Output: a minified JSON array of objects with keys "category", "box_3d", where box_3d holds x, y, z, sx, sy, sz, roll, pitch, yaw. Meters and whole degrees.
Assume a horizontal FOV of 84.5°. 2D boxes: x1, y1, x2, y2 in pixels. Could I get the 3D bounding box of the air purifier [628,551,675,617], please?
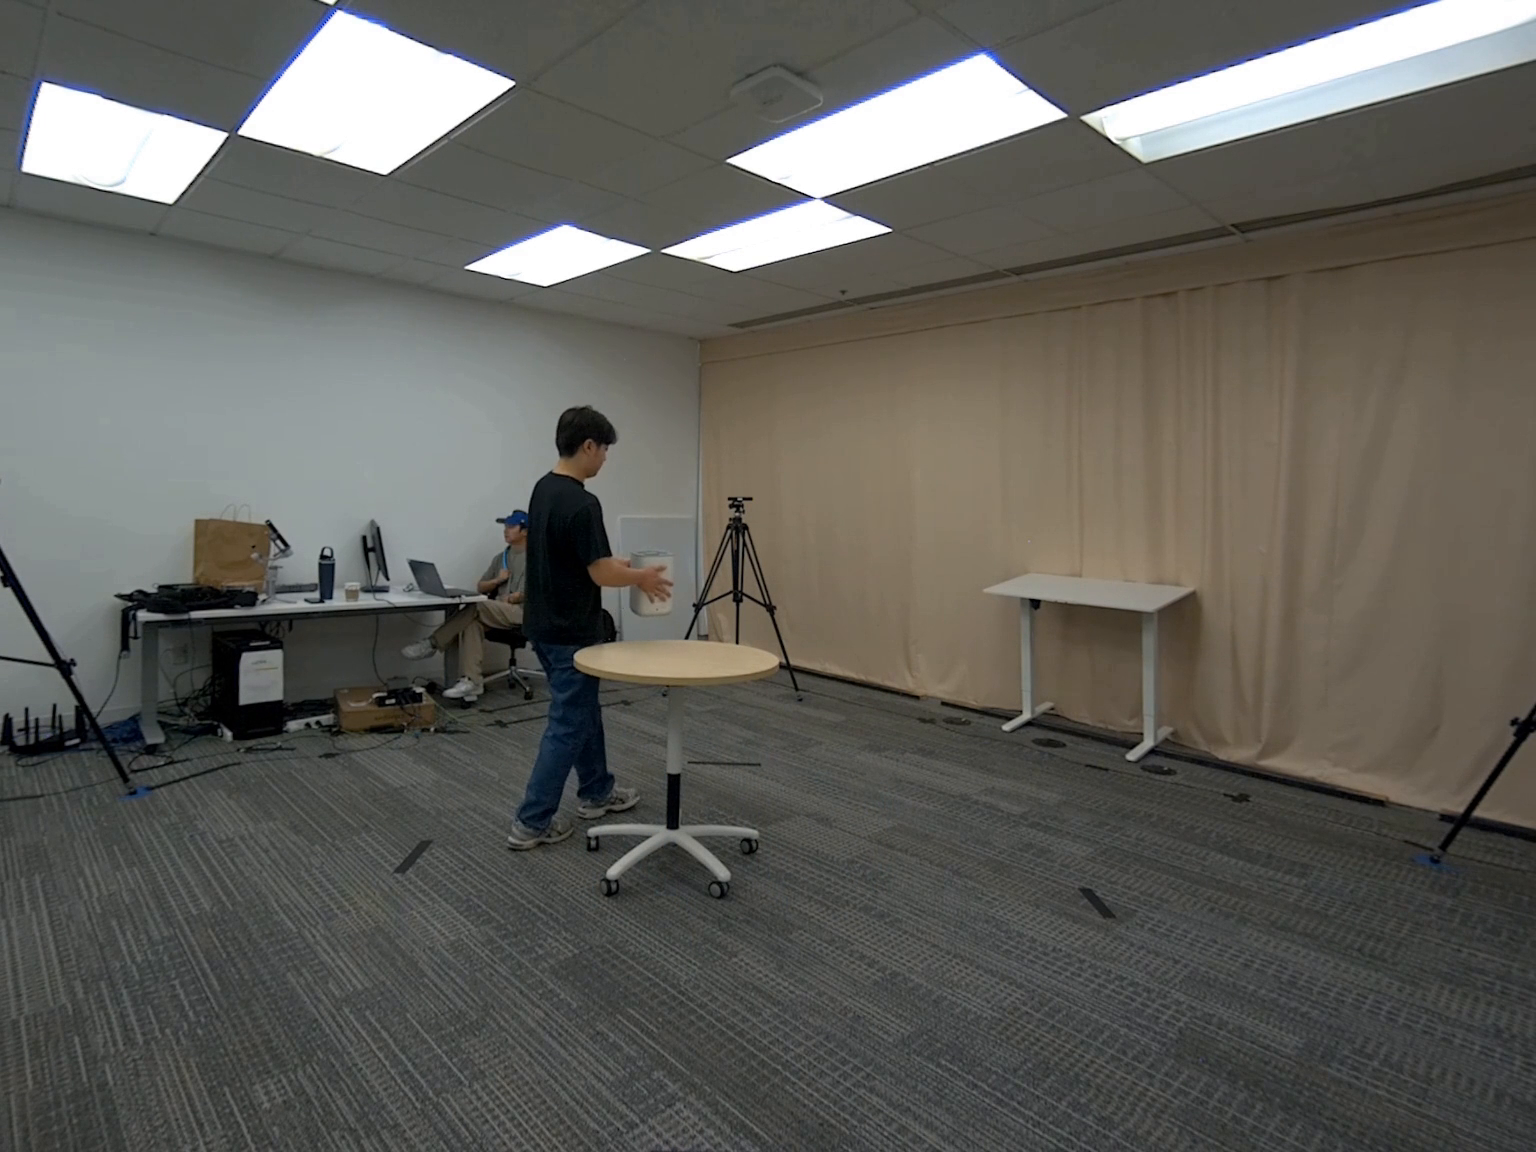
[{"category":"air purifier","box_3d":[-0.518,0.028,3.619,0.168,0.264,0.175,1,5,-24]}]
